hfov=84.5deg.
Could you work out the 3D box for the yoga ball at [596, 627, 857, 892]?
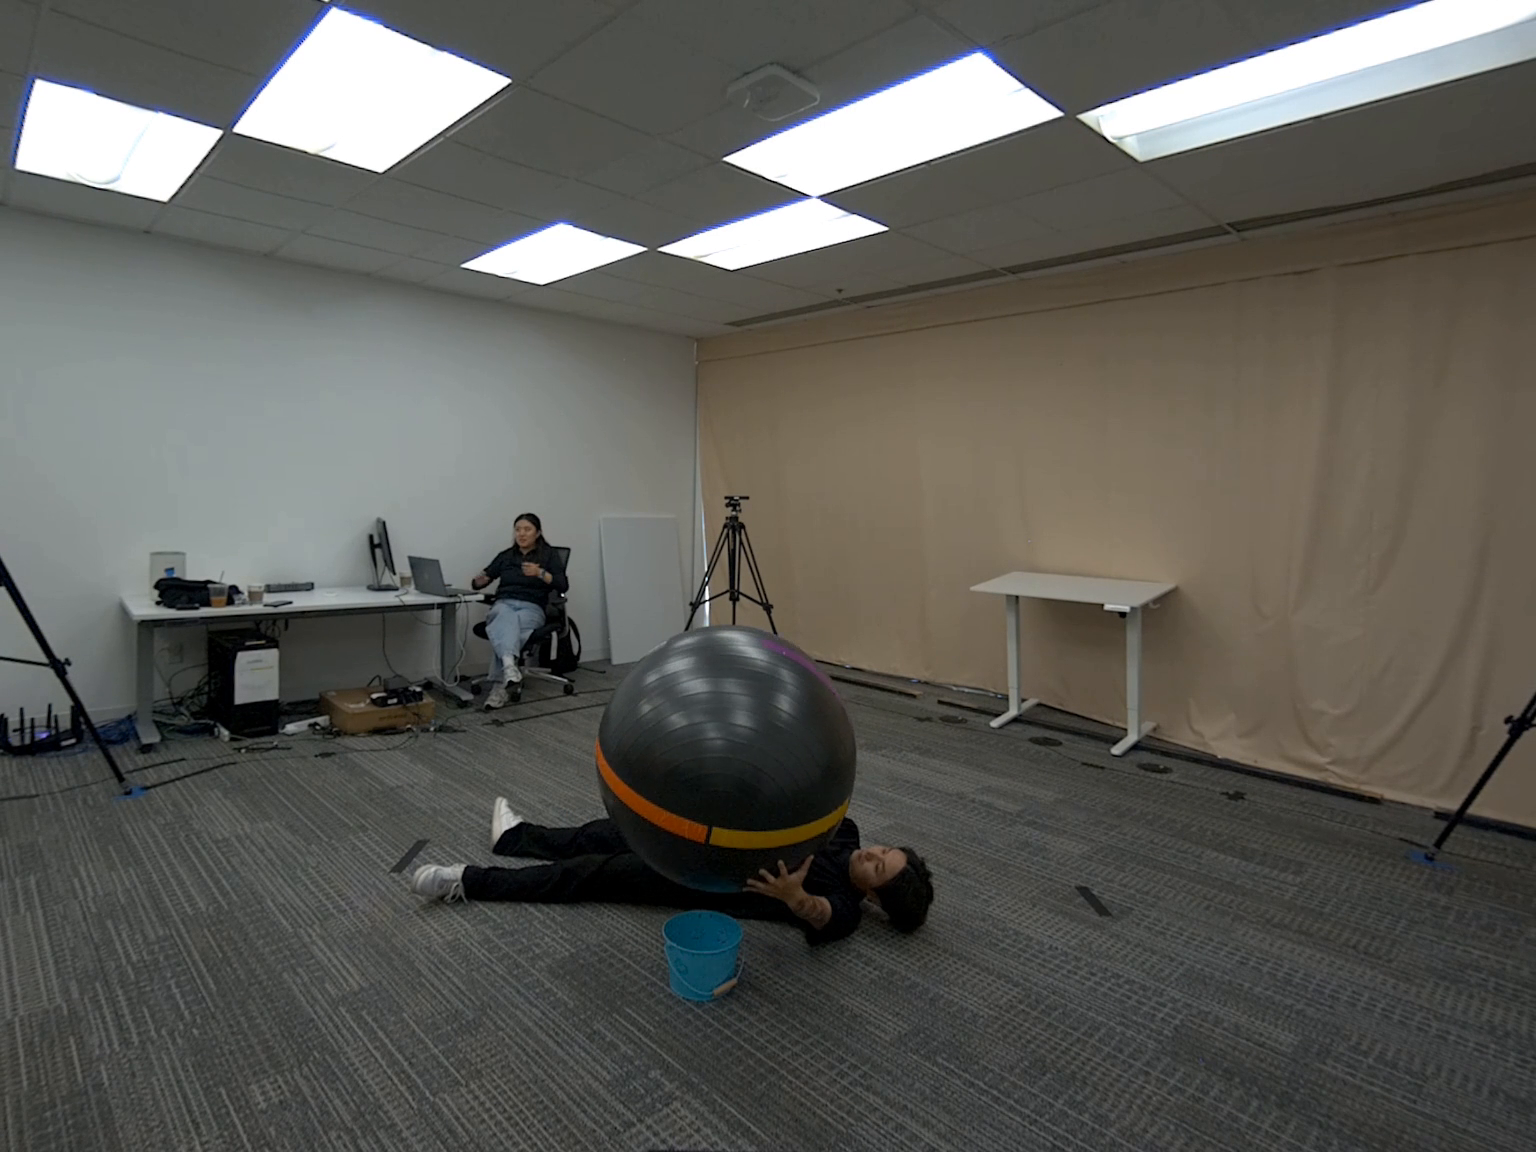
[{"bbox_3d":[-0.124,0.527,2.488,0.757,0.756,0.761,1,4,-1],"label":"yoga ball"}]
